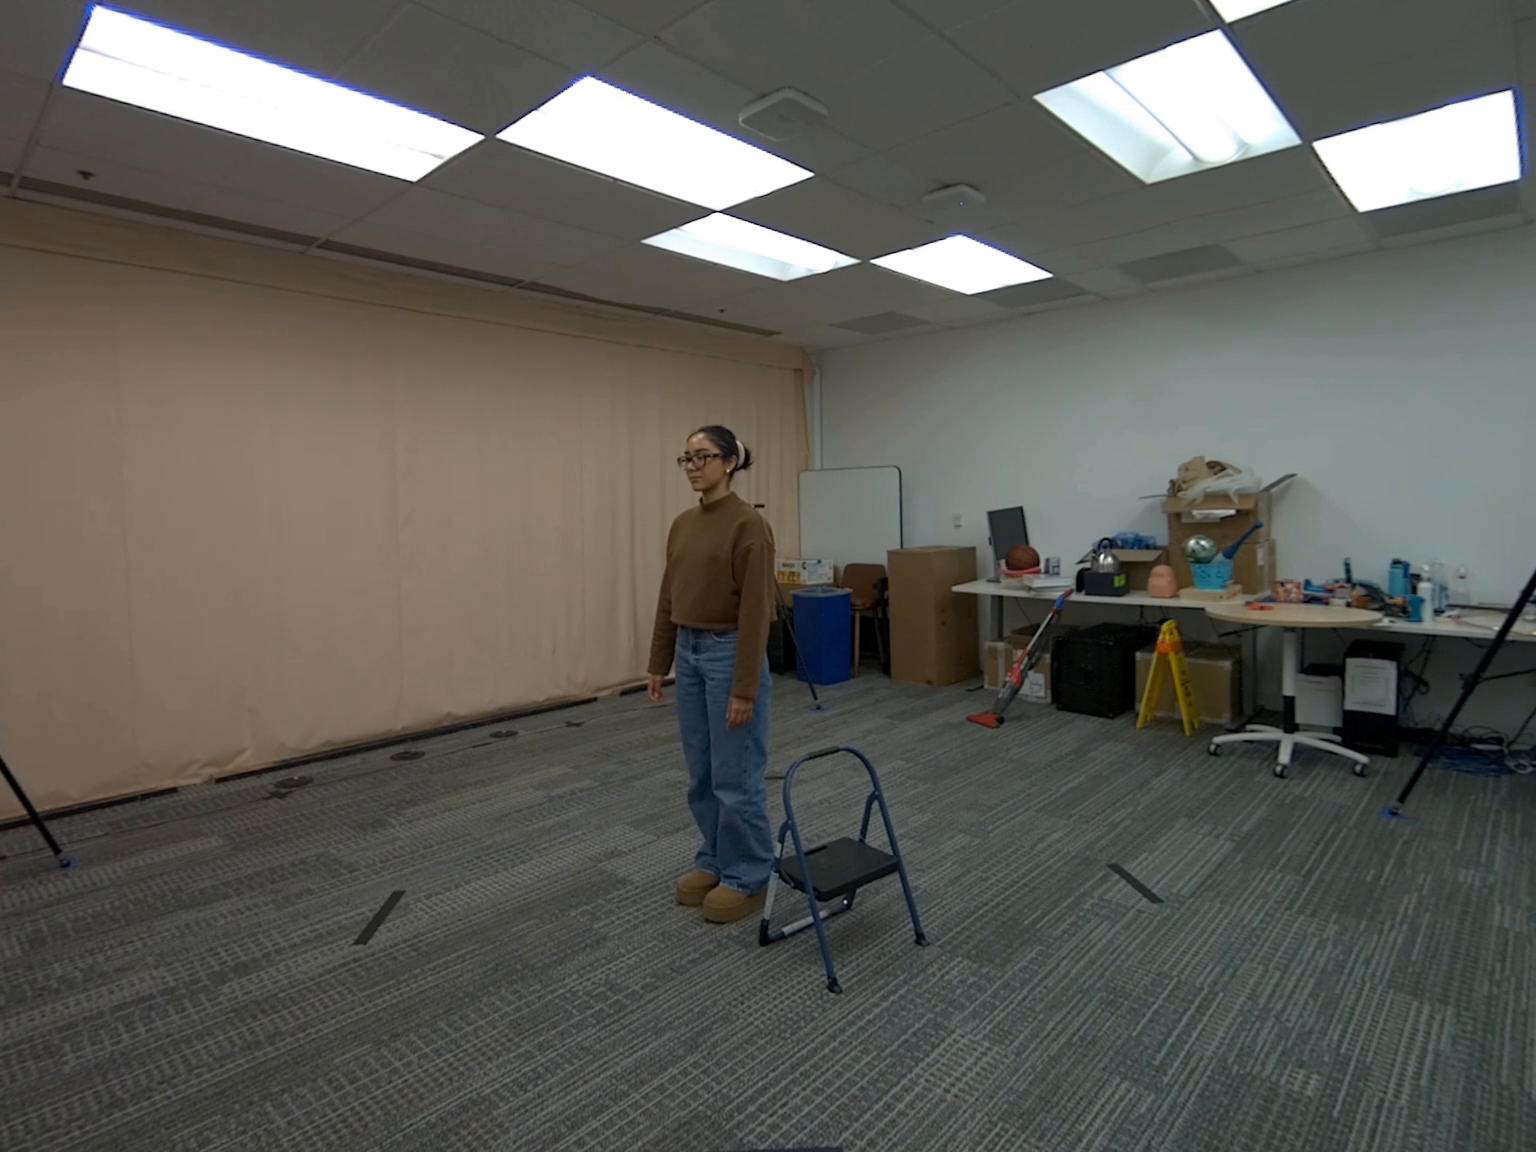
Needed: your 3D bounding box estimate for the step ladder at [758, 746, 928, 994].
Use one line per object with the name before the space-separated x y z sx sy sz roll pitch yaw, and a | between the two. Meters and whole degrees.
step ladder | 0.237 0.861 2.640 0.418 0.605 0.360 -4 4 -40
